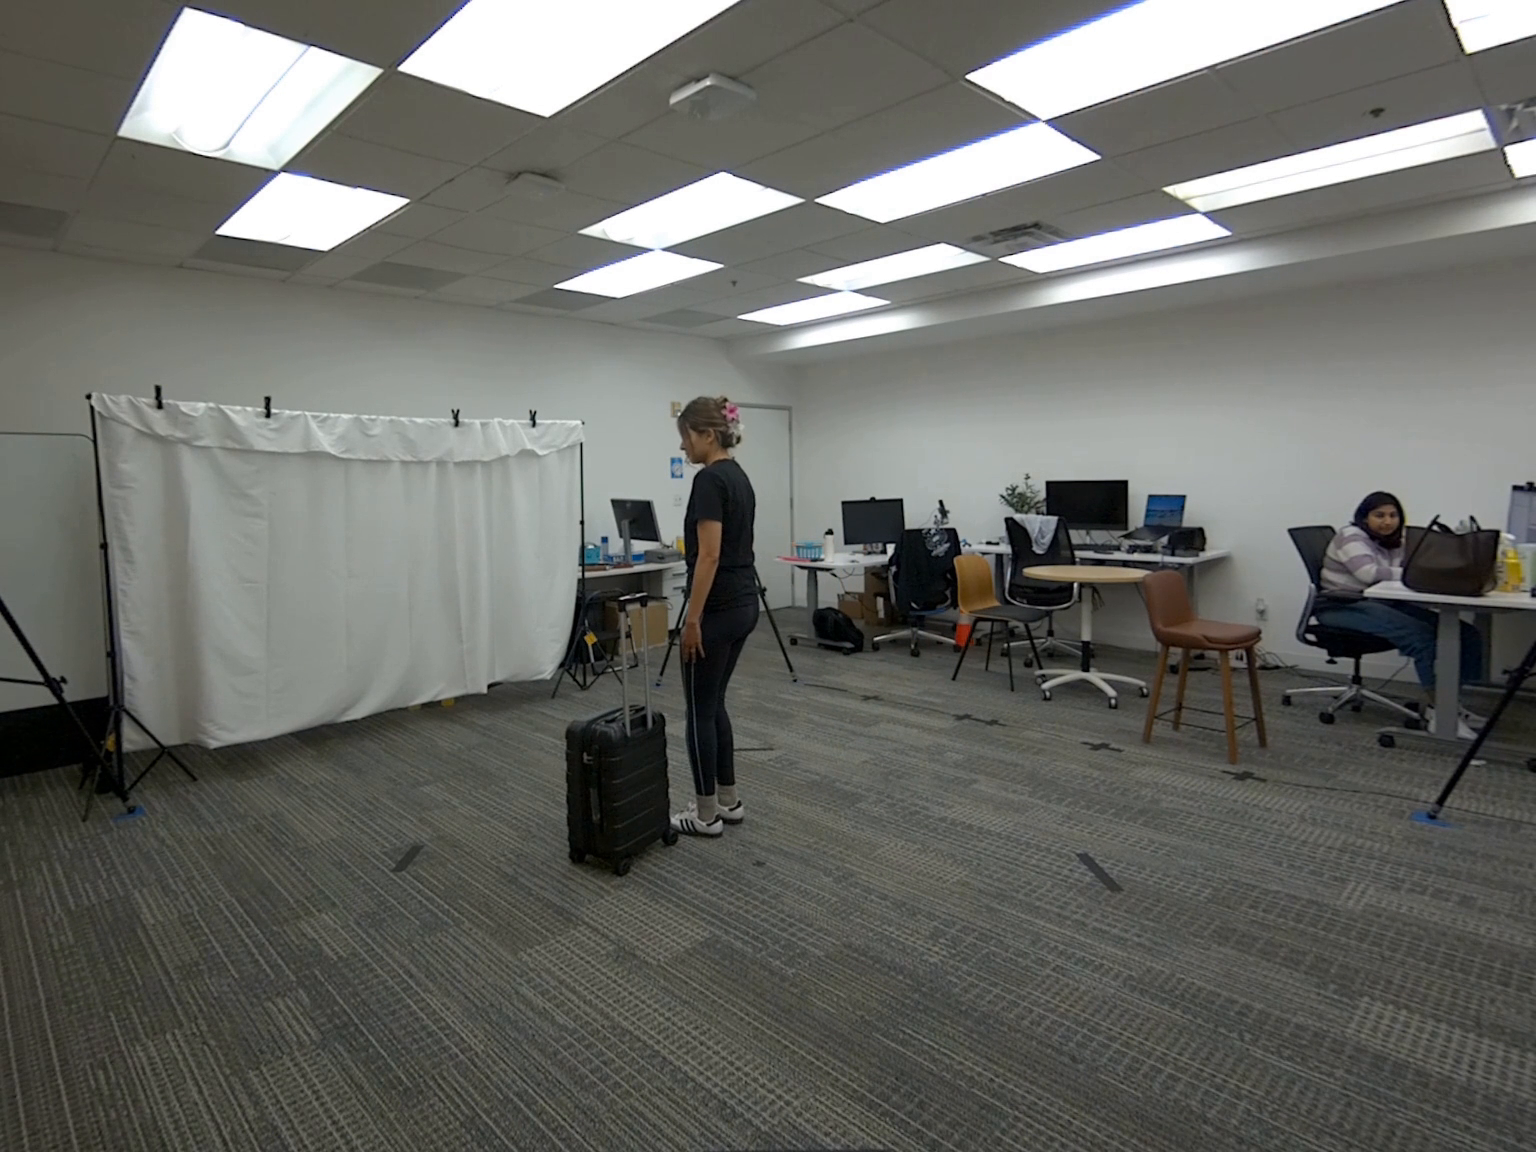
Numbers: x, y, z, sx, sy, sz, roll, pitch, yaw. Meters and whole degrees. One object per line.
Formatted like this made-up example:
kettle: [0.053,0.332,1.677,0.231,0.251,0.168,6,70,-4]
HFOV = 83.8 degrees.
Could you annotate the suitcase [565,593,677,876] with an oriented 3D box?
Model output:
suitcase: [-0.574,0.573,3.176,0.263,0.975,0.376,-1,4,30]
